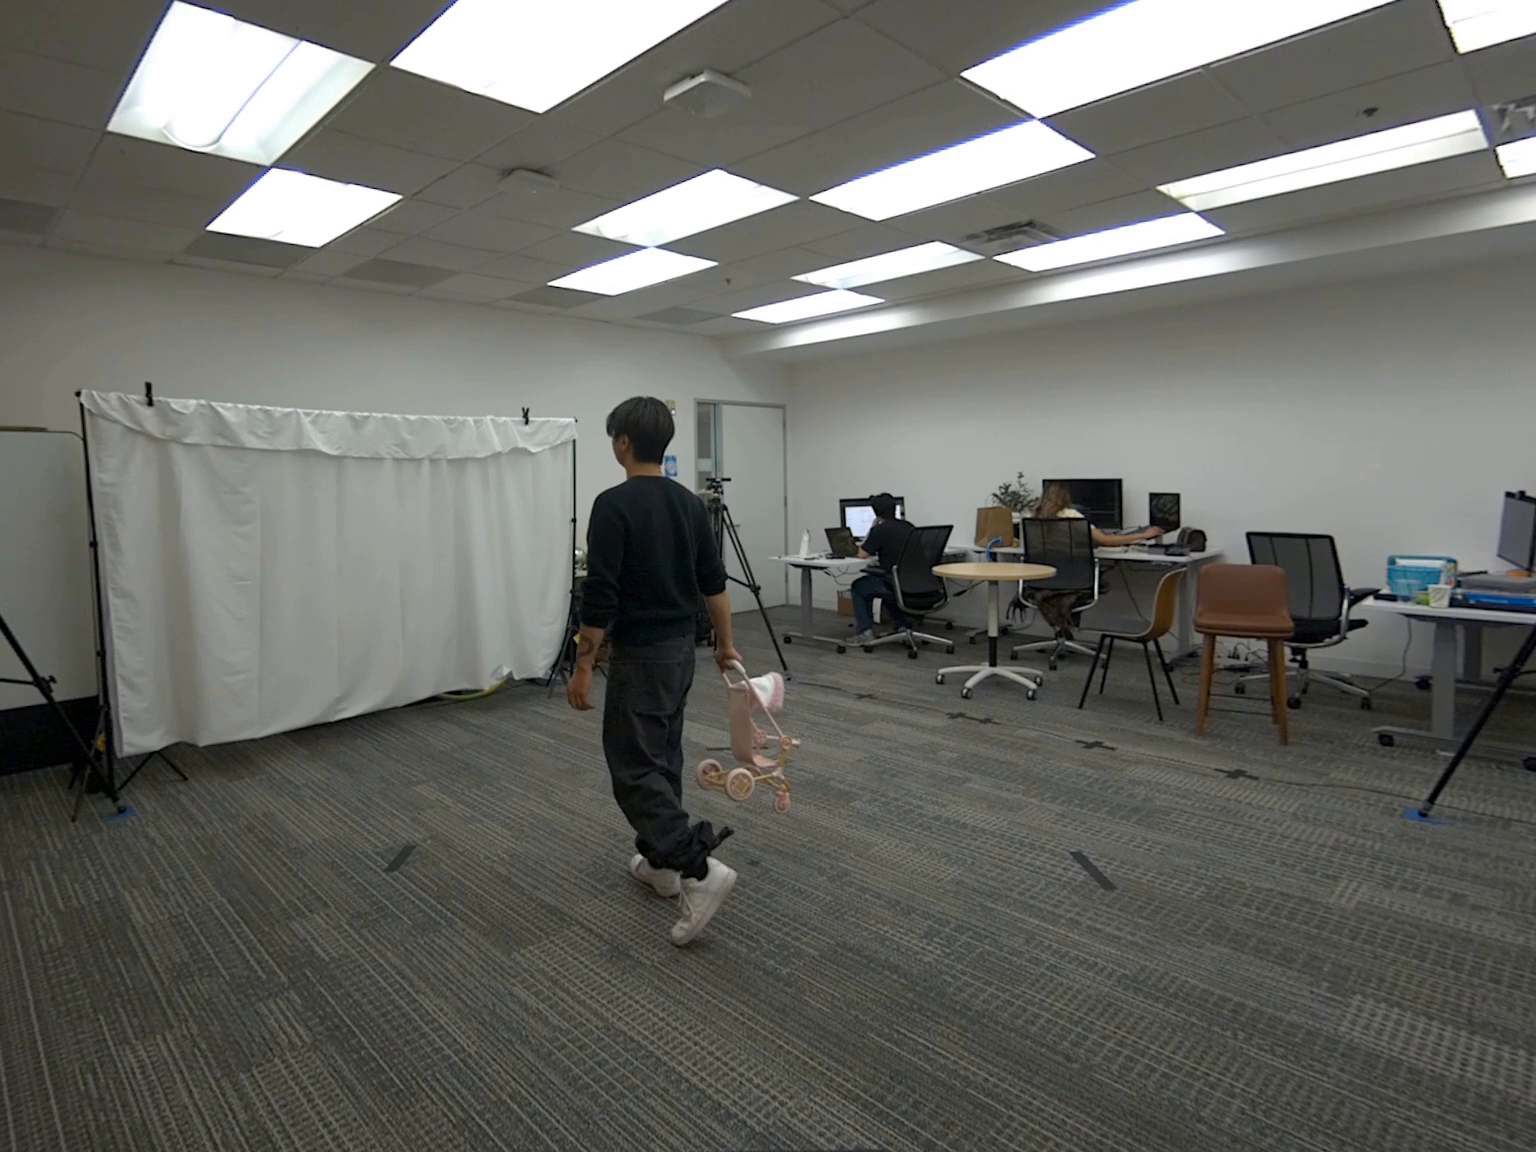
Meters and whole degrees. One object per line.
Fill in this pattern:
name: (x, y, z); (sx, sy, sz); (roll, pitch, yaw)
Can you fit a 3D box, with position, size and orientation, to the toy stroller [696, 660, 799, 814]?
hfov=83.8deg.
toy stroller: (-0.043, 0.582, 3.099); (0.334, 0.539, 0.285); (8, -11, -23)
